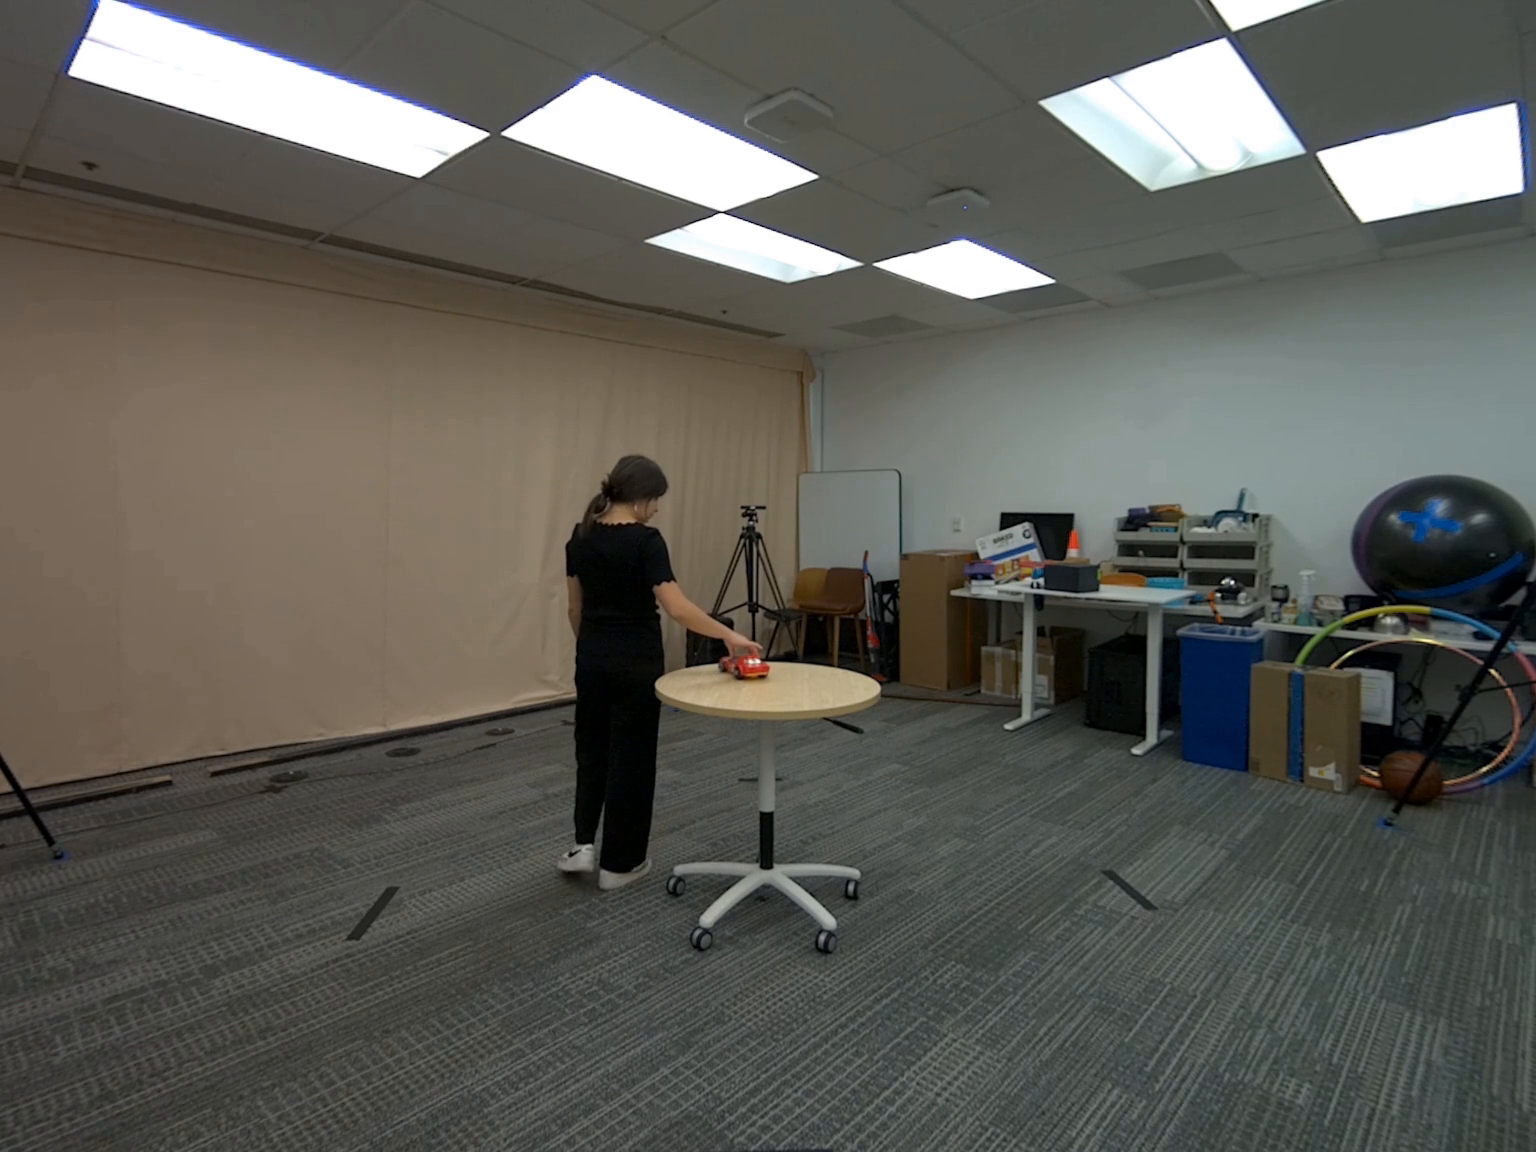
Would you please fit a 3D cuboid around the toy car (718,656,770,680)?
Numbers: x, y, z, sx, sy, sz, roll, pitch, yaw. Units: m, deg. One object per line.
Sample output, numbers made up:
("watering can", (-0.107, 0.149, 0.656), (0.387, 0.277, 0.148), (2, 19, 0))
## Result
("toy car", (-0.075, 0.327, 2.999), (0.127, 0.083, 0.259), (-2, -6, -24))
